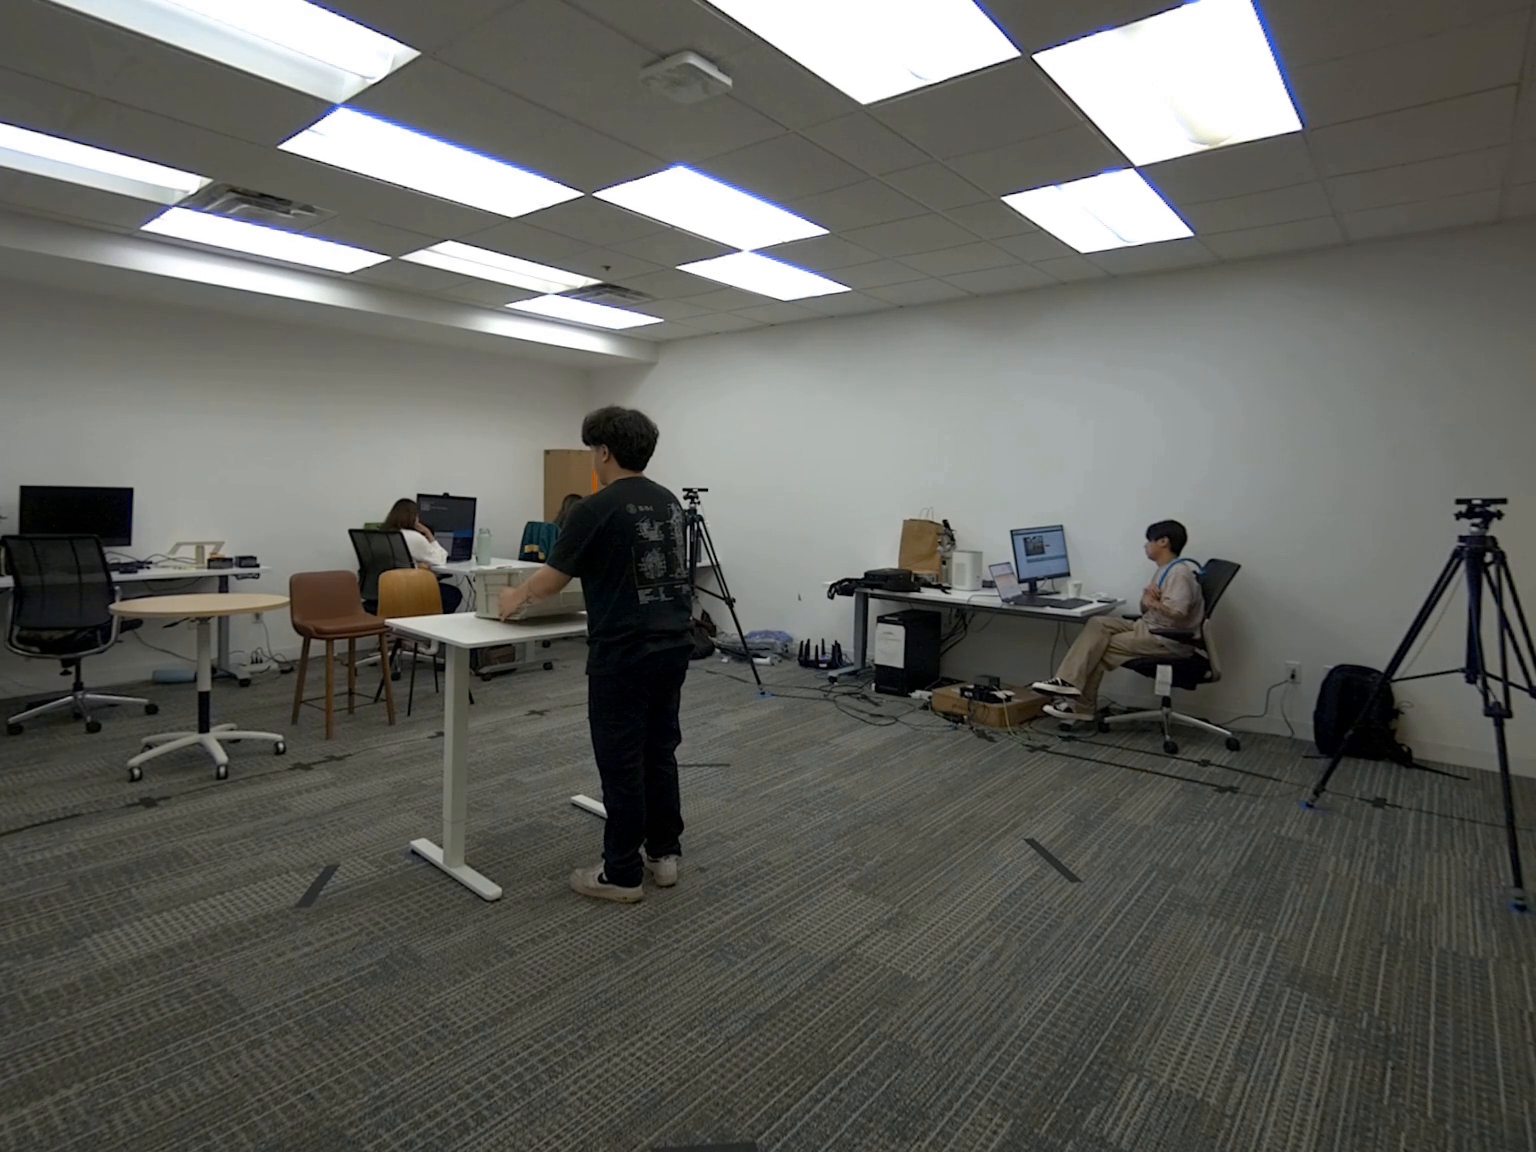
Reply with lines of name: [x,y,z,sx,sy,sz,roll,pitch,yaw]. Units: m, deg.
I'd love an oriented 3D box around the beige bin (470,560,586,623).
beige bin: [-0.875,0.053,3.289,0.389,0.189,0.410,-1,2,44]
